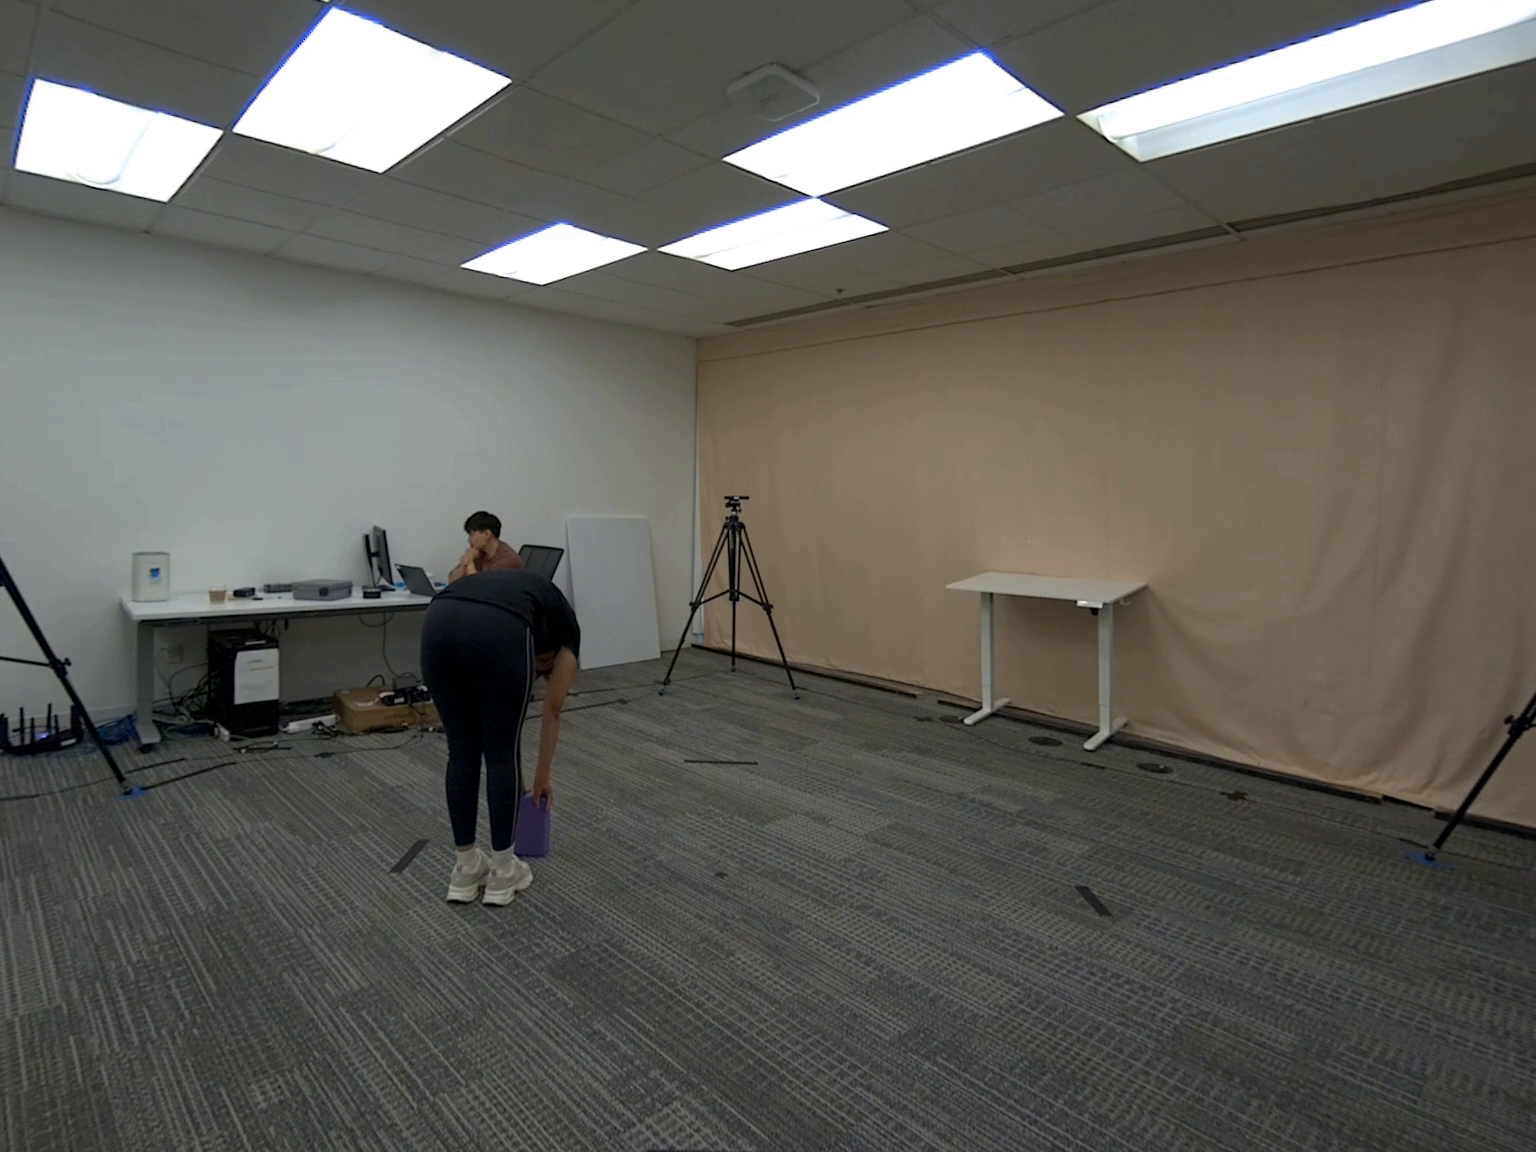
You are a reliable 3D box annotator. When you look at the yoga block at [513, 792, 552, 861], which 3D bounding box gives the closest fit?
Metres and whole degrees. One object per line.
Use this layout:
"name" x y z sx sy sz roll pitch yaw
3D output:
"yoga block" -0.930 0.966 3.255 0.149 0.229 0.076 3 4 5
